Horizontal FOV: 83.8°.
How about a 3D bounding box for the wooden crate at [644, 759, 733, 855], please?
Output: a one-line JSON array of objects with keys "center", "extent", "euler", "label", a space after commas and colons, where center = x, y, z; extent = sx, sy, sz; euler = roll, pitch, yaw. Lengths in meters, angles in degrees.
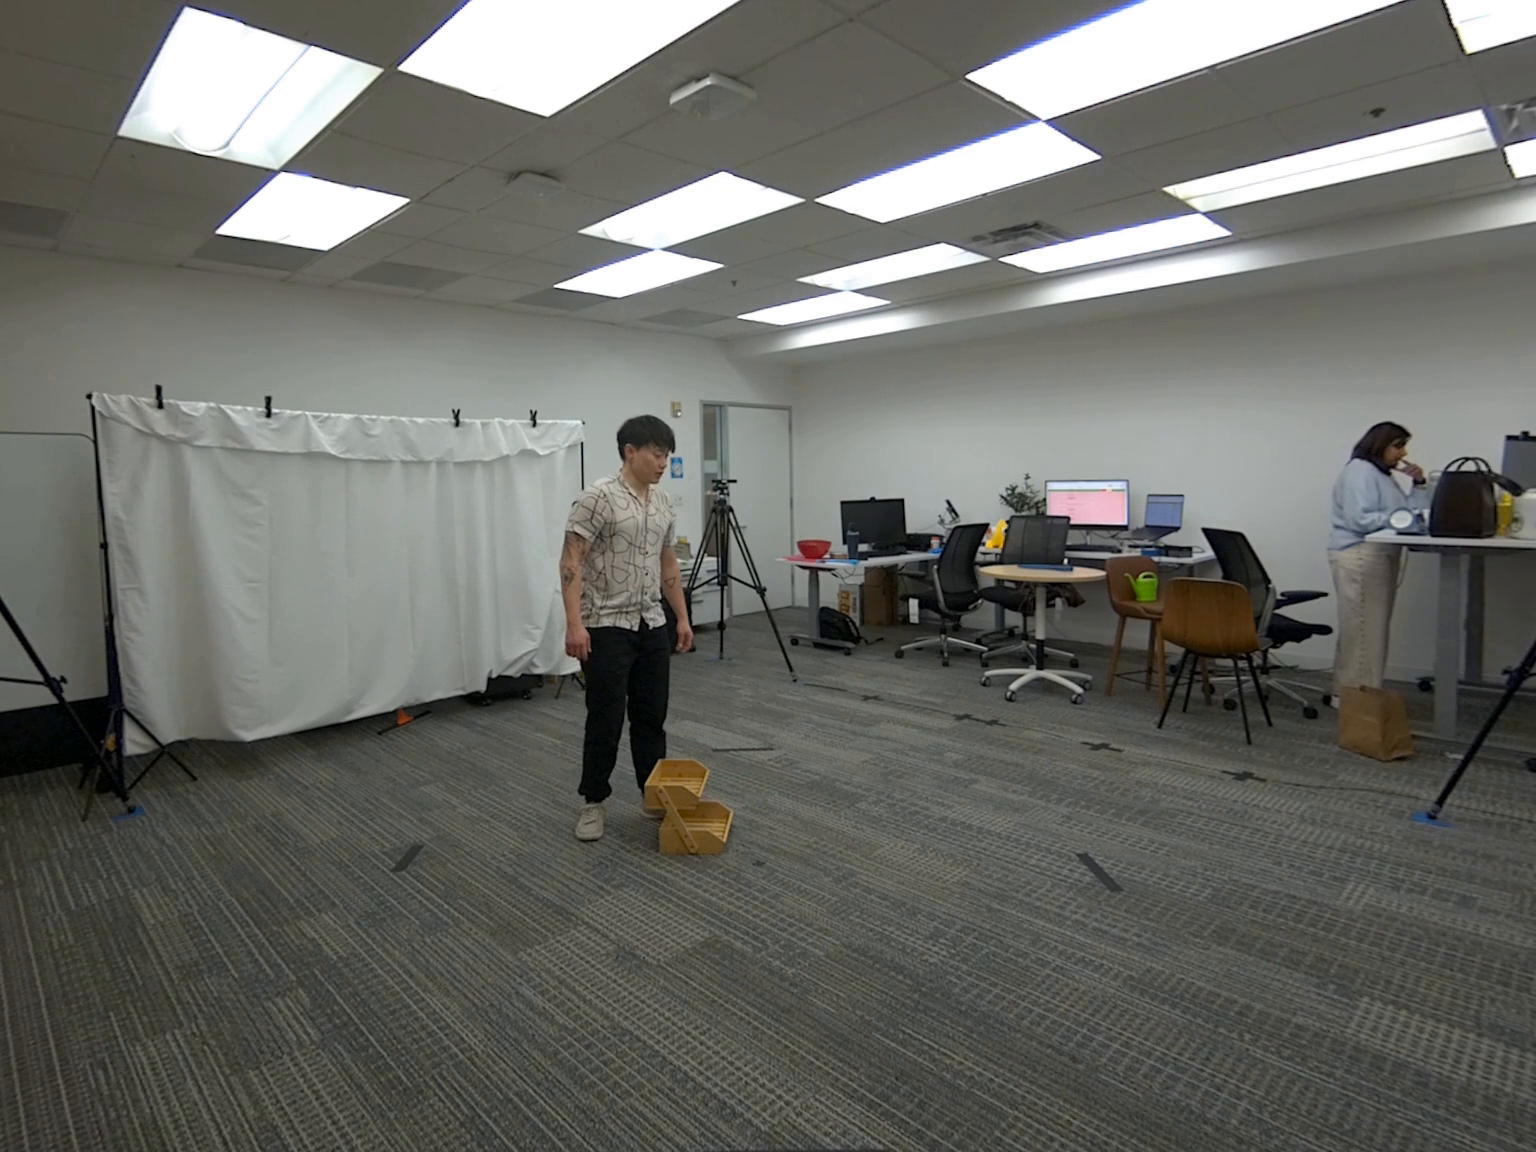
[{"center": [-0.297, 0.893, 3.343], "extent": [0.303, 0.272, 0.324], "euler": [-1, 4, 4], "label": "wooden crate"}]
